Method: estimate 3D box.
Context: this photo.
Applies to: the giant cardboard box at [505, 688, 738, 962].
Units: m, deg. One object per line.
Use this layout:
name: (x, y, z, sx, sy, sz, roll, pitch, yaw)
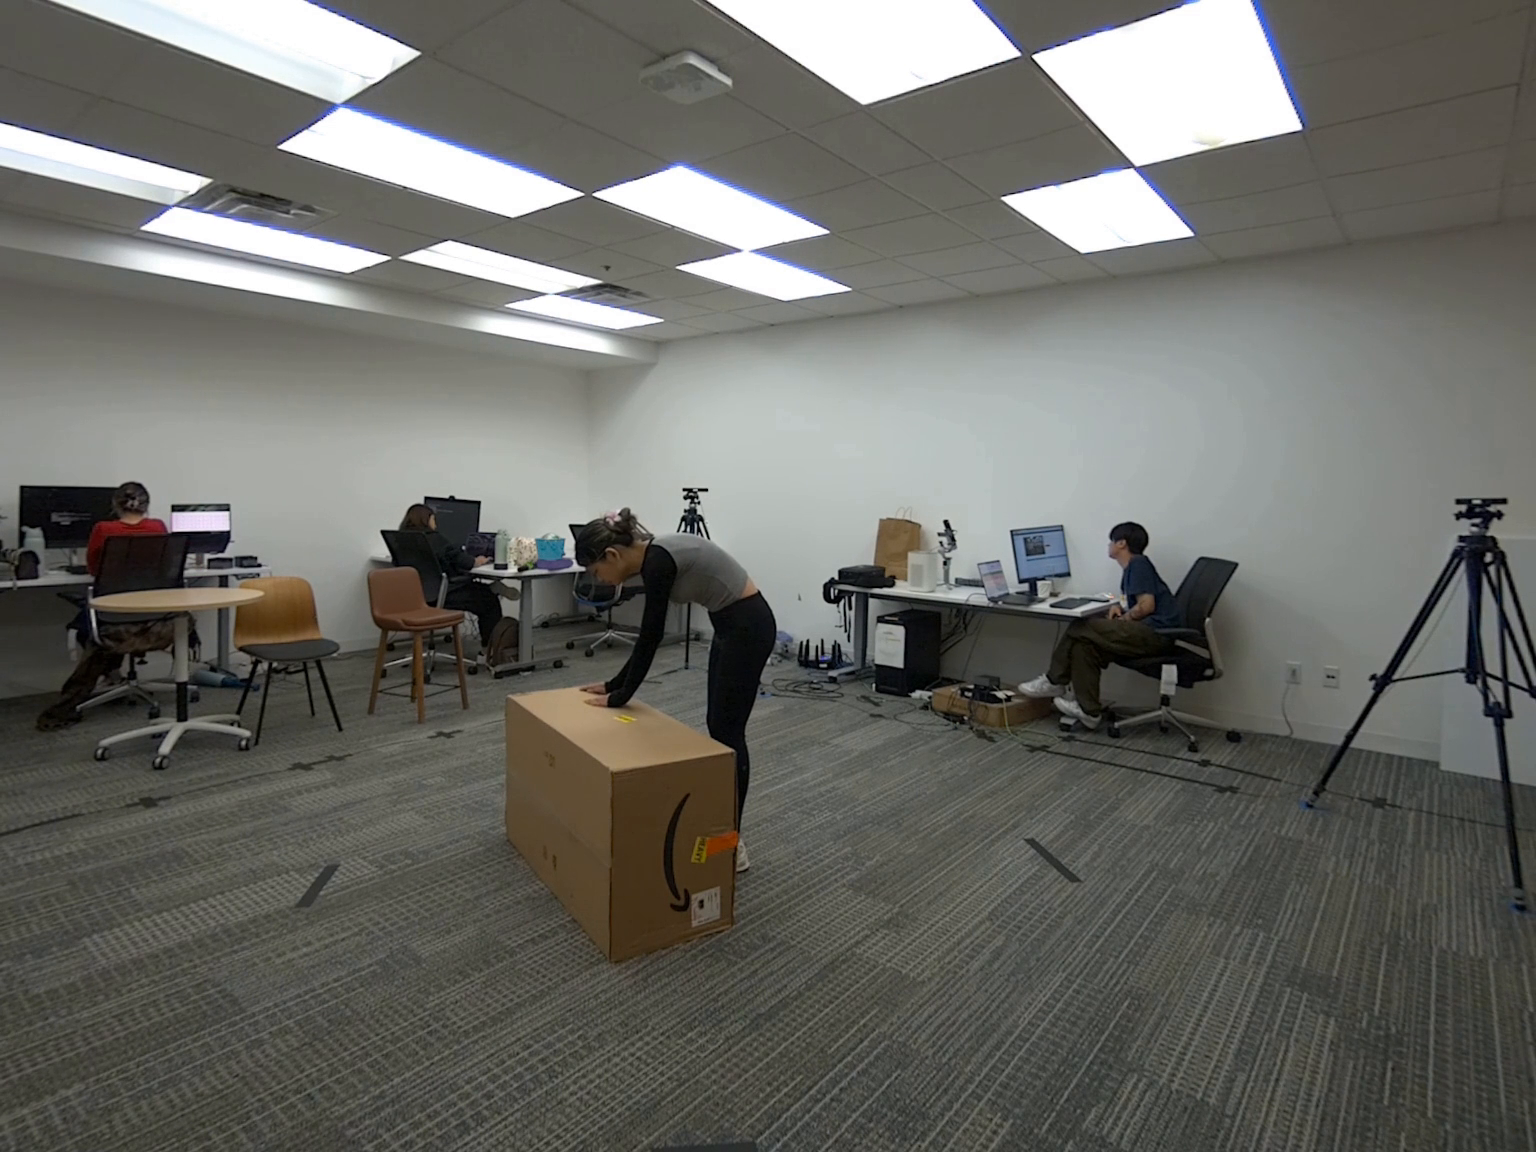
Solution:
giant cardboard box: (-0.576, 0.785, 2.999, 0.414, 0.575, 1.059, -1, 6, -33)
